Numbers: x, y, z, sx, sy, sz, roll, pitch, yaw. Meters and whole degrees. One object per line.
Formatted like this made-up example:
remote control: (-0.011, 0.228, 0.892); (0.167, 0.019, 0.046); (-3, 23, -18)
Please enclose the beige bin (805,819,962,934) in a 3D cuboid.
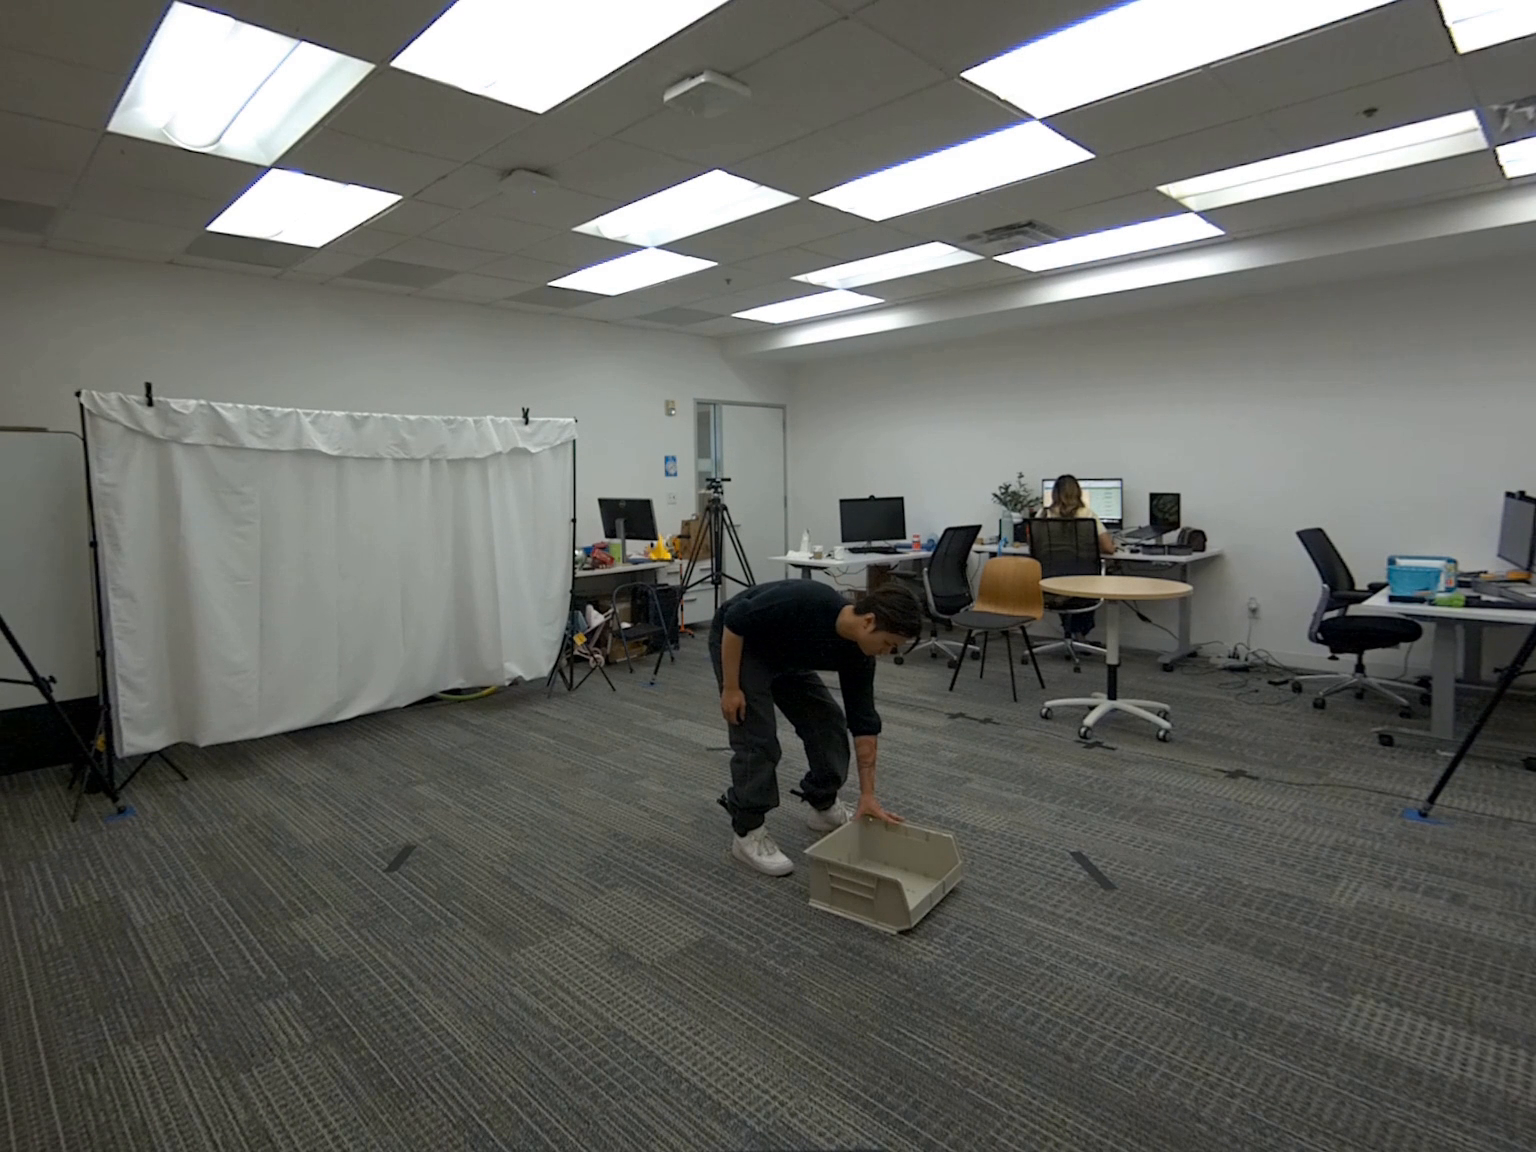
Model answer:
beige bin: (0.394, 0.979, 2.834); (0.388, 0.188, 0.412); (2, 7, 36)
